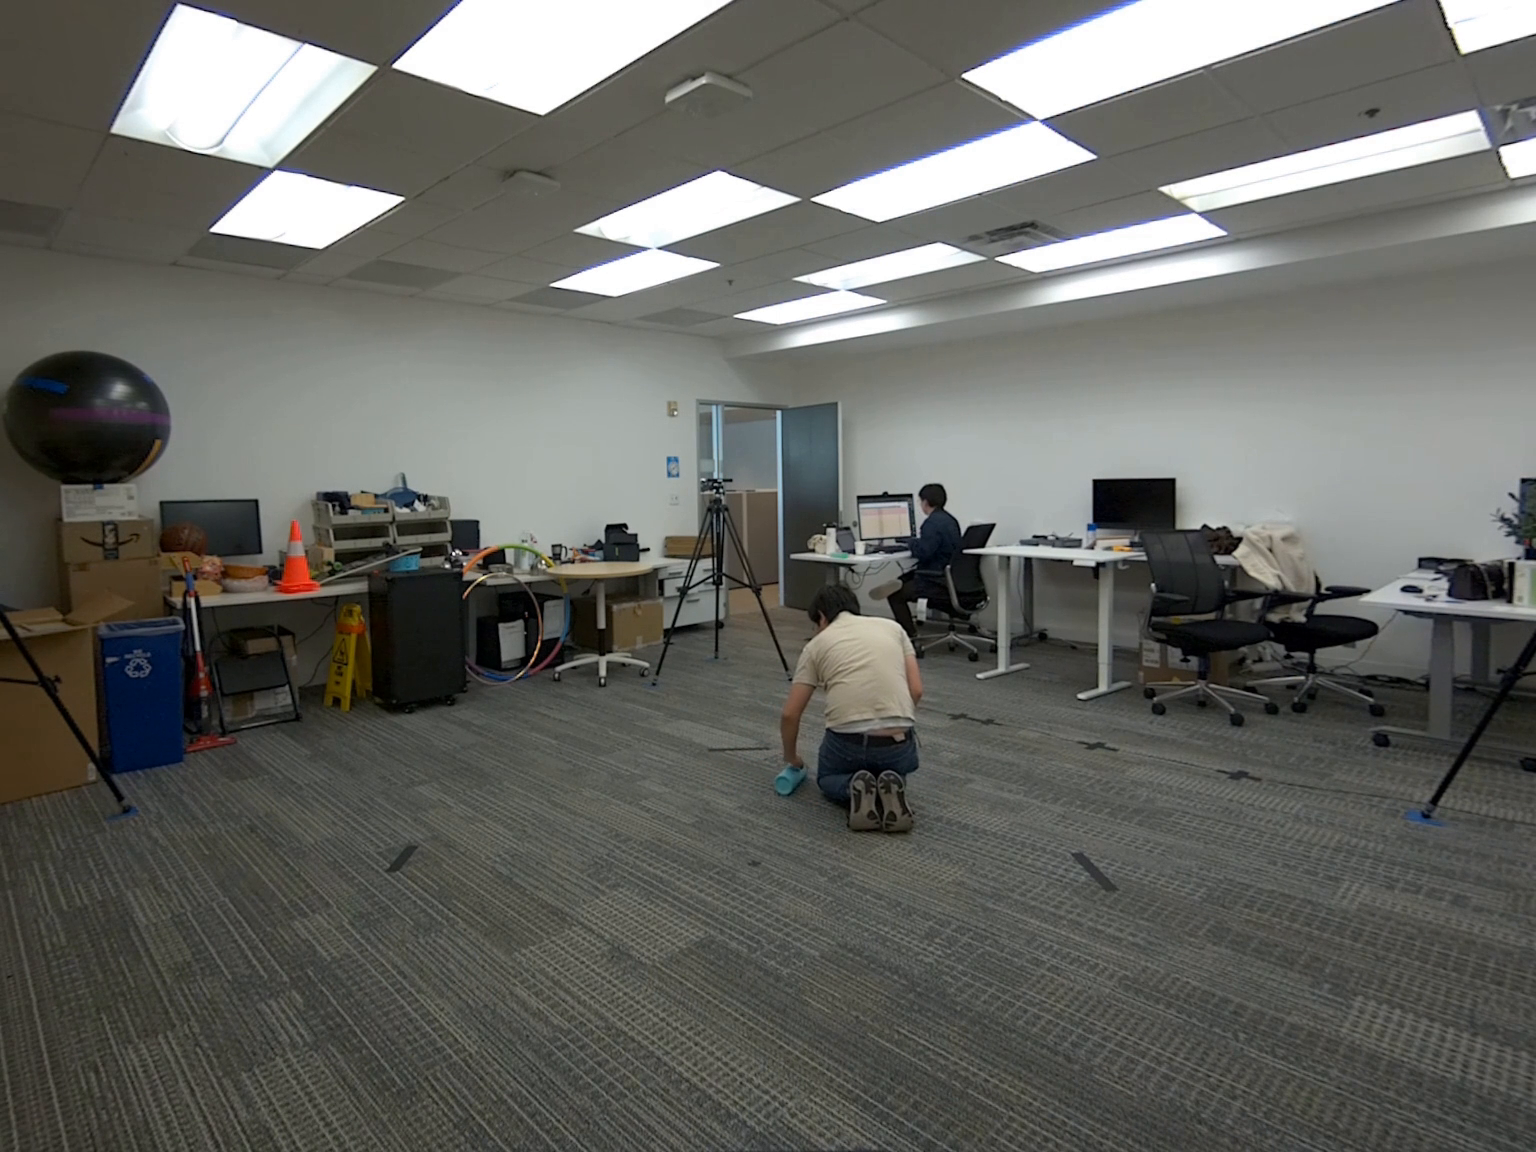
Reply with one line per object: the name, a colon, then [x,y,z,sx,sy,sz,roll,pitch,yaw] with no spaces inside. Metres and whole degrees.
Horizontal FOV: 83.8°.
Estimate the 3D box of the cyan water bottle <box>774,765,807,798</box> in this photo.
cyan water bottle: [0.112,0.905,3.898,0.094,0.092,0.279,1,6,19]
